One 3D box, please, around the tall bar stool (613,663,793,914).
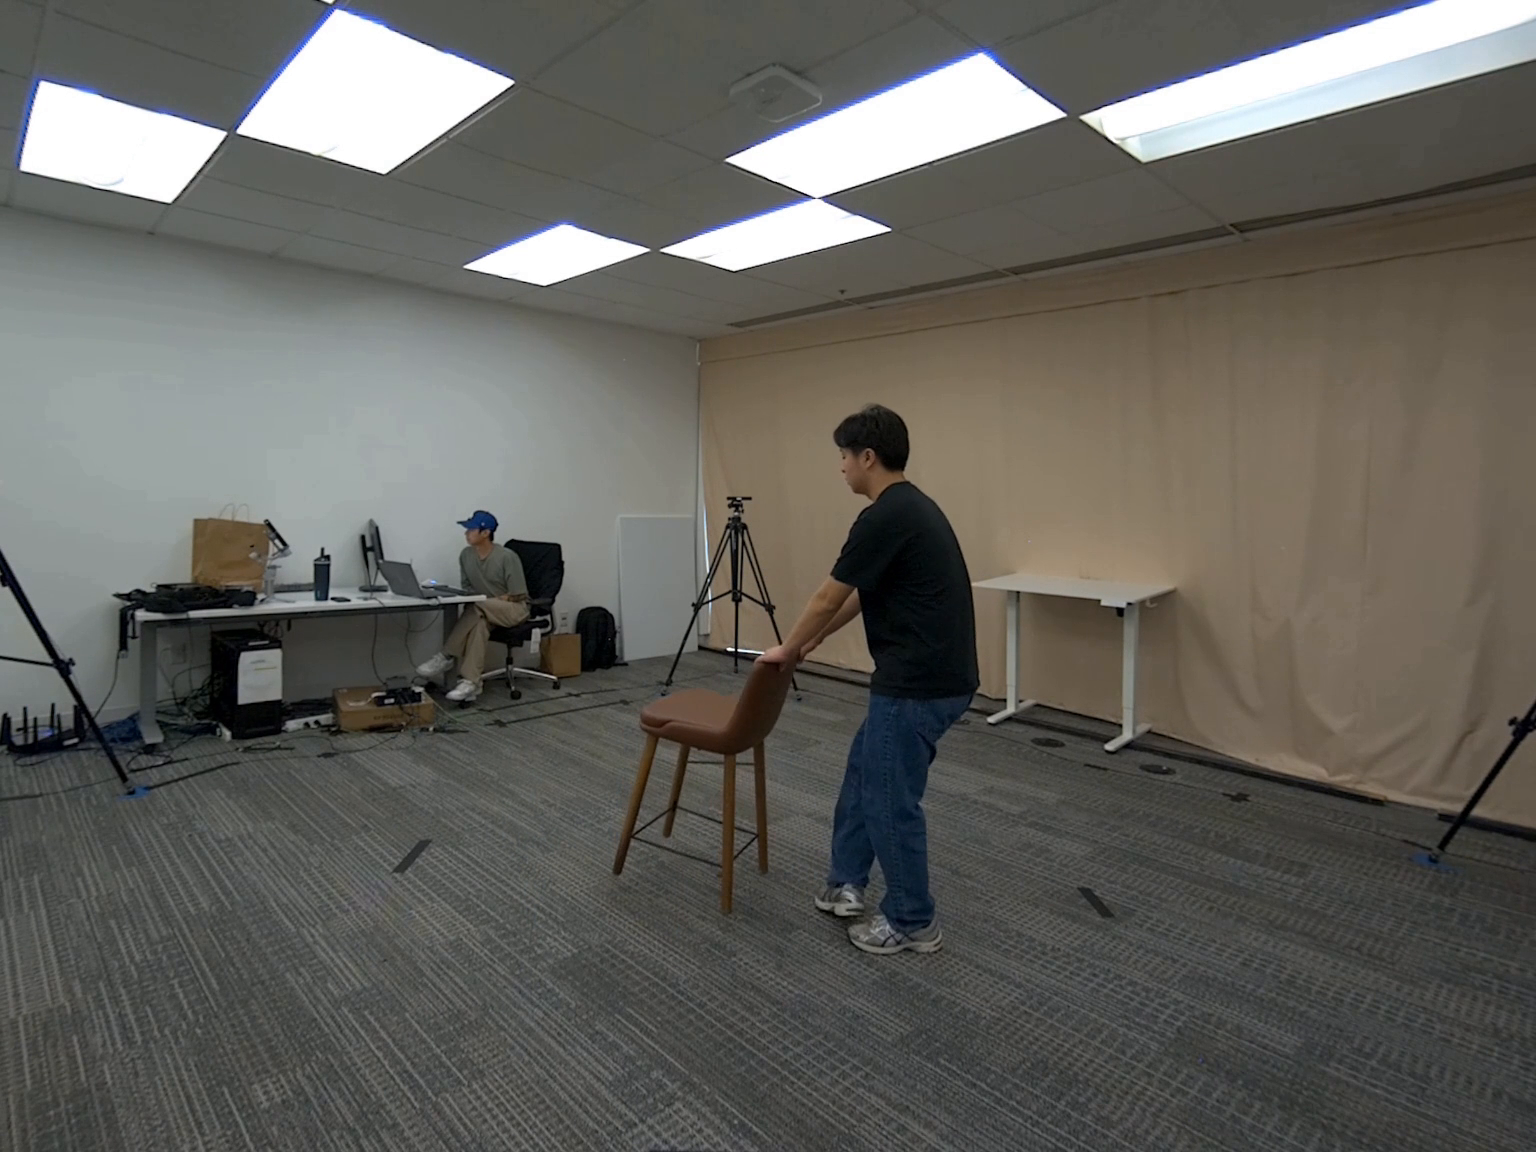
[{"bbox_3d":[-0.212,0.657,3.028,0.477,0.886,0.449,12,7,22],"label":"tall bar stool"}]
